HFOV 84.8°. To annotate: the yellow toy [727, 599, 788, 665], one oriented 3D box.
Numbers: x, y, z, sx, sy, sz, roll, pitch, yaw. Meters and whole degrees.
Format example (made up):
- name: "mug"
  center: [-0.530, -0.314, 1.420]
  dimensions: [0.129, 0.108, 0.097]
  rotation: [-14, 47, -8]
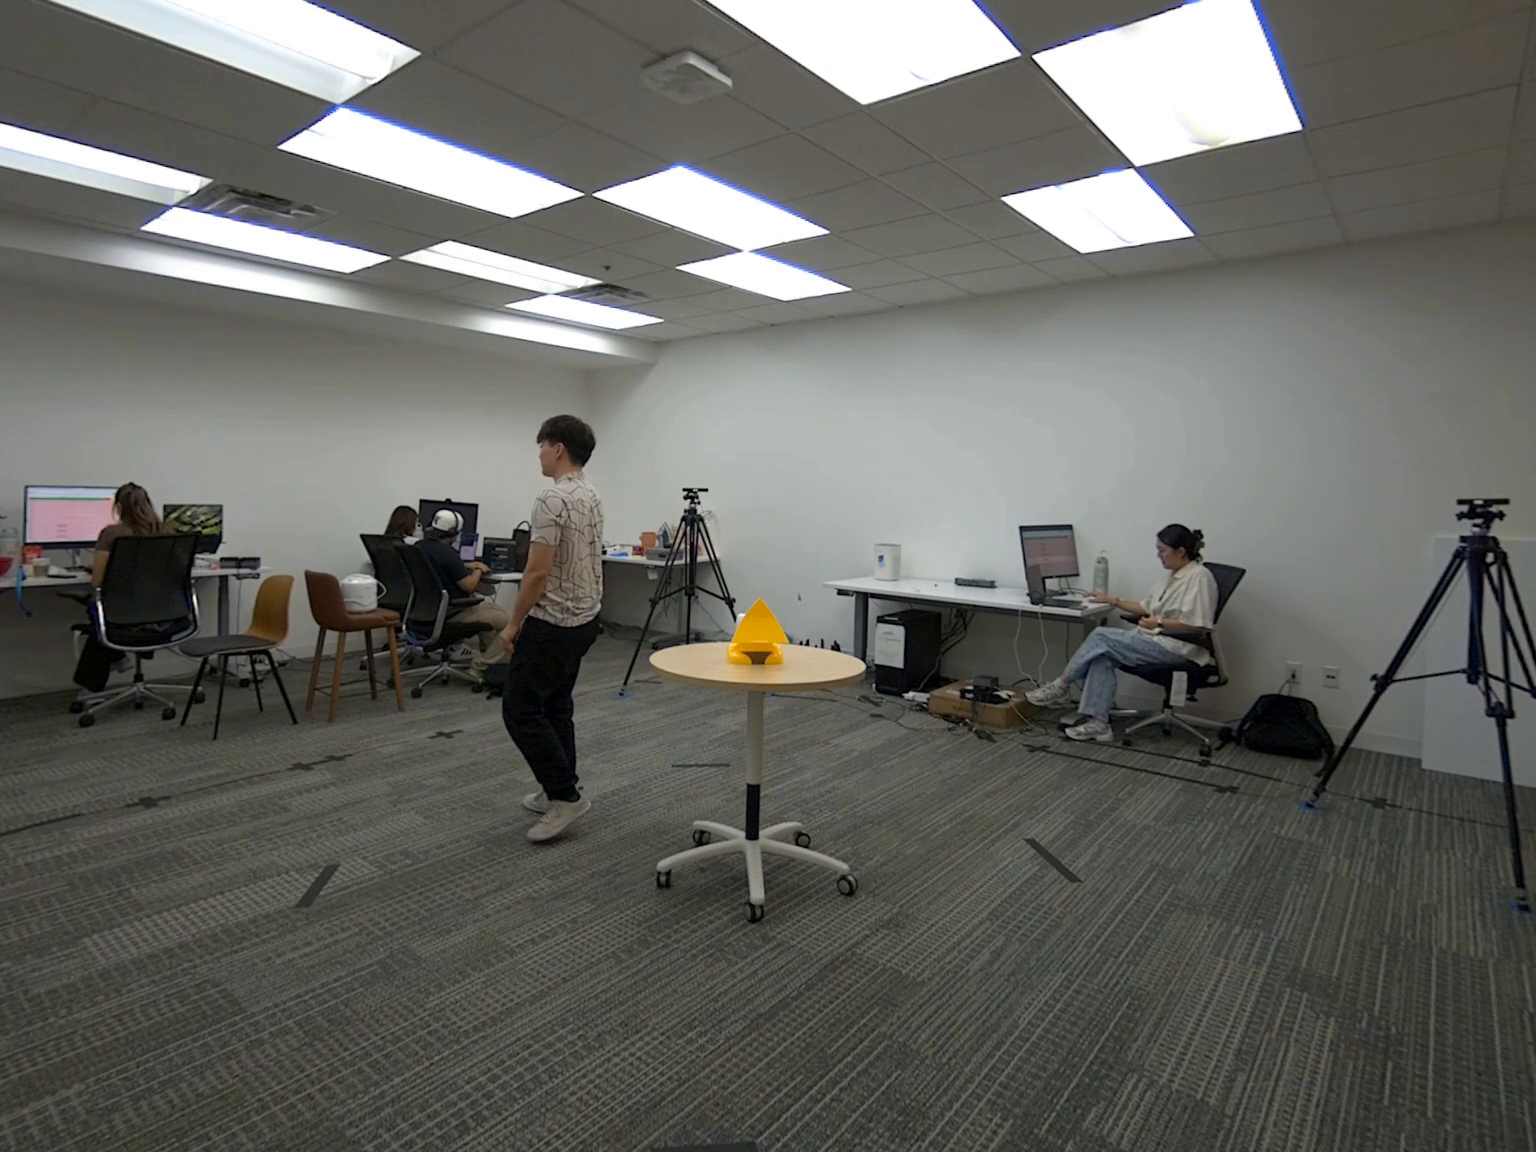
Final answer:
- name: "yellow toy"
  center: [-0.054, 0.185, 3.021]
  dimensions: [0.203, 0.230, 0.195]
  rotation: [1, 4, -10]
